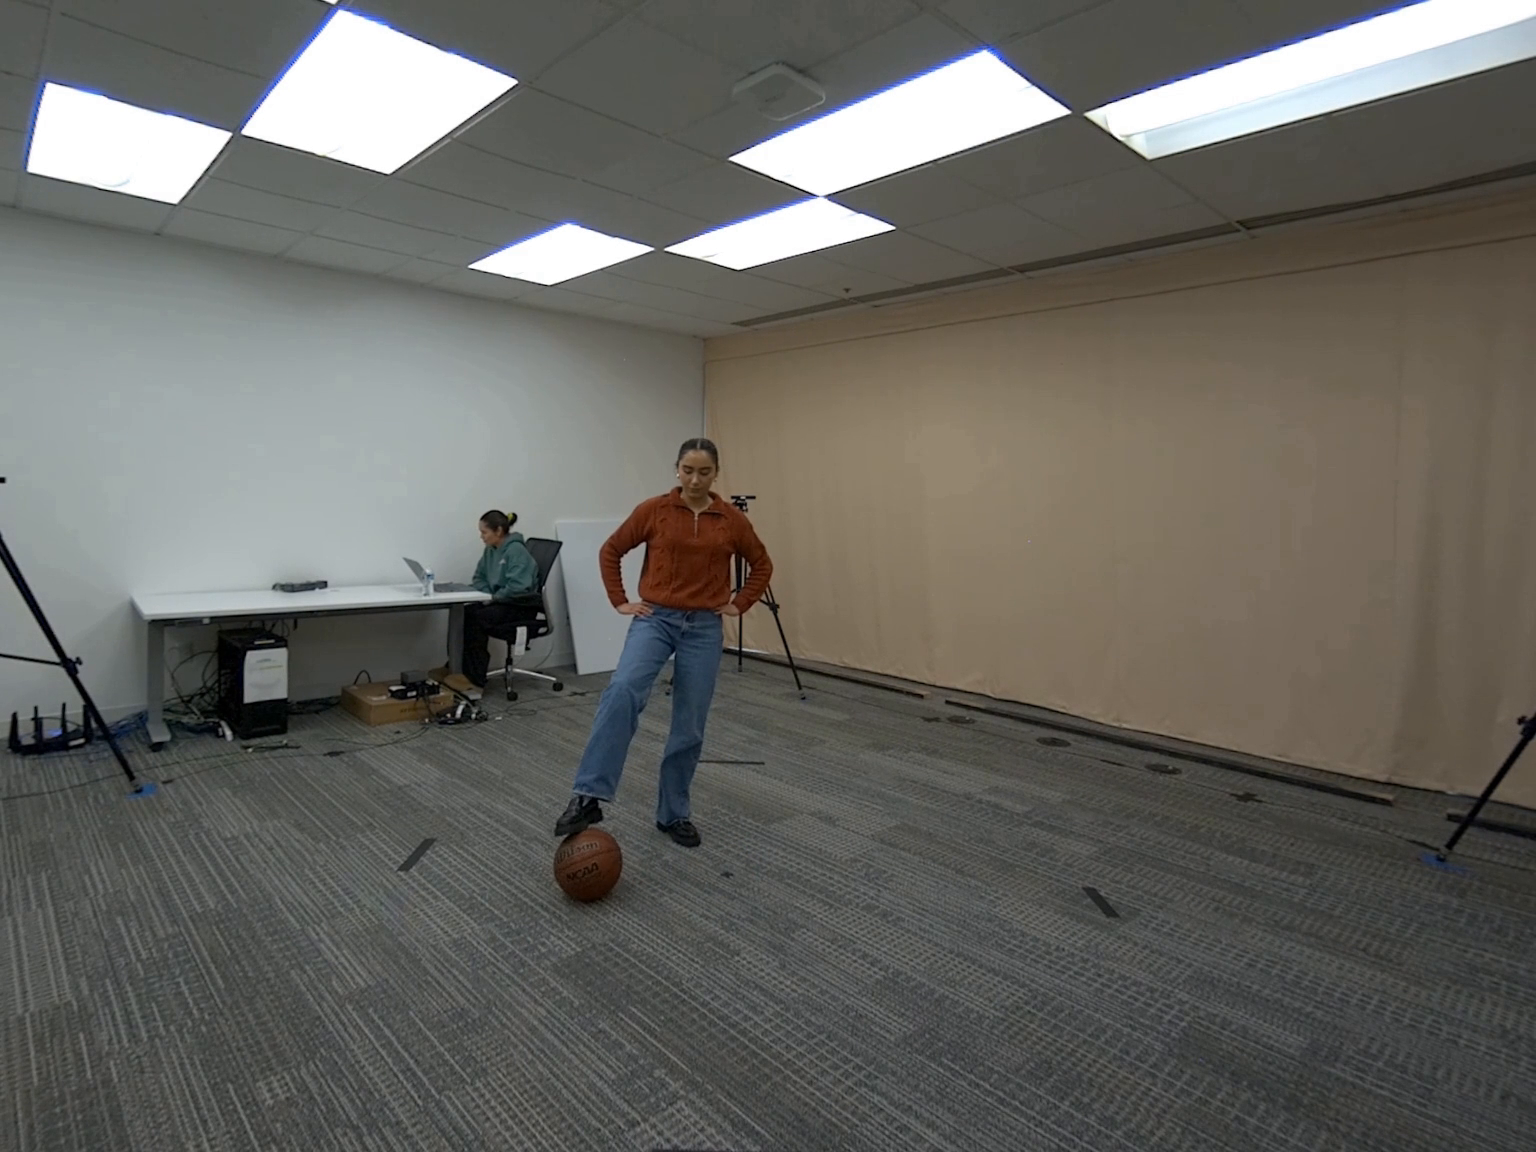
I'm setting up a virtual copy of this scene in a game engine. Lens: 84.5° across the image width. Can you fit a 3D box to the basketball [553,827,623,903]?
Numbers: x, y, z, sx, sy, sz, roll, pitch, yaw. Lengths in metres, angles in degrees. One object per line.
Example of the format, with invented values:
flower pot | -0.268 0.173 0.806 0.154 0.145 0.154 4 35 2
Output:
basketball | -0.626 0.995 2.901 0.236 0.235 0.237 1 4 -1
